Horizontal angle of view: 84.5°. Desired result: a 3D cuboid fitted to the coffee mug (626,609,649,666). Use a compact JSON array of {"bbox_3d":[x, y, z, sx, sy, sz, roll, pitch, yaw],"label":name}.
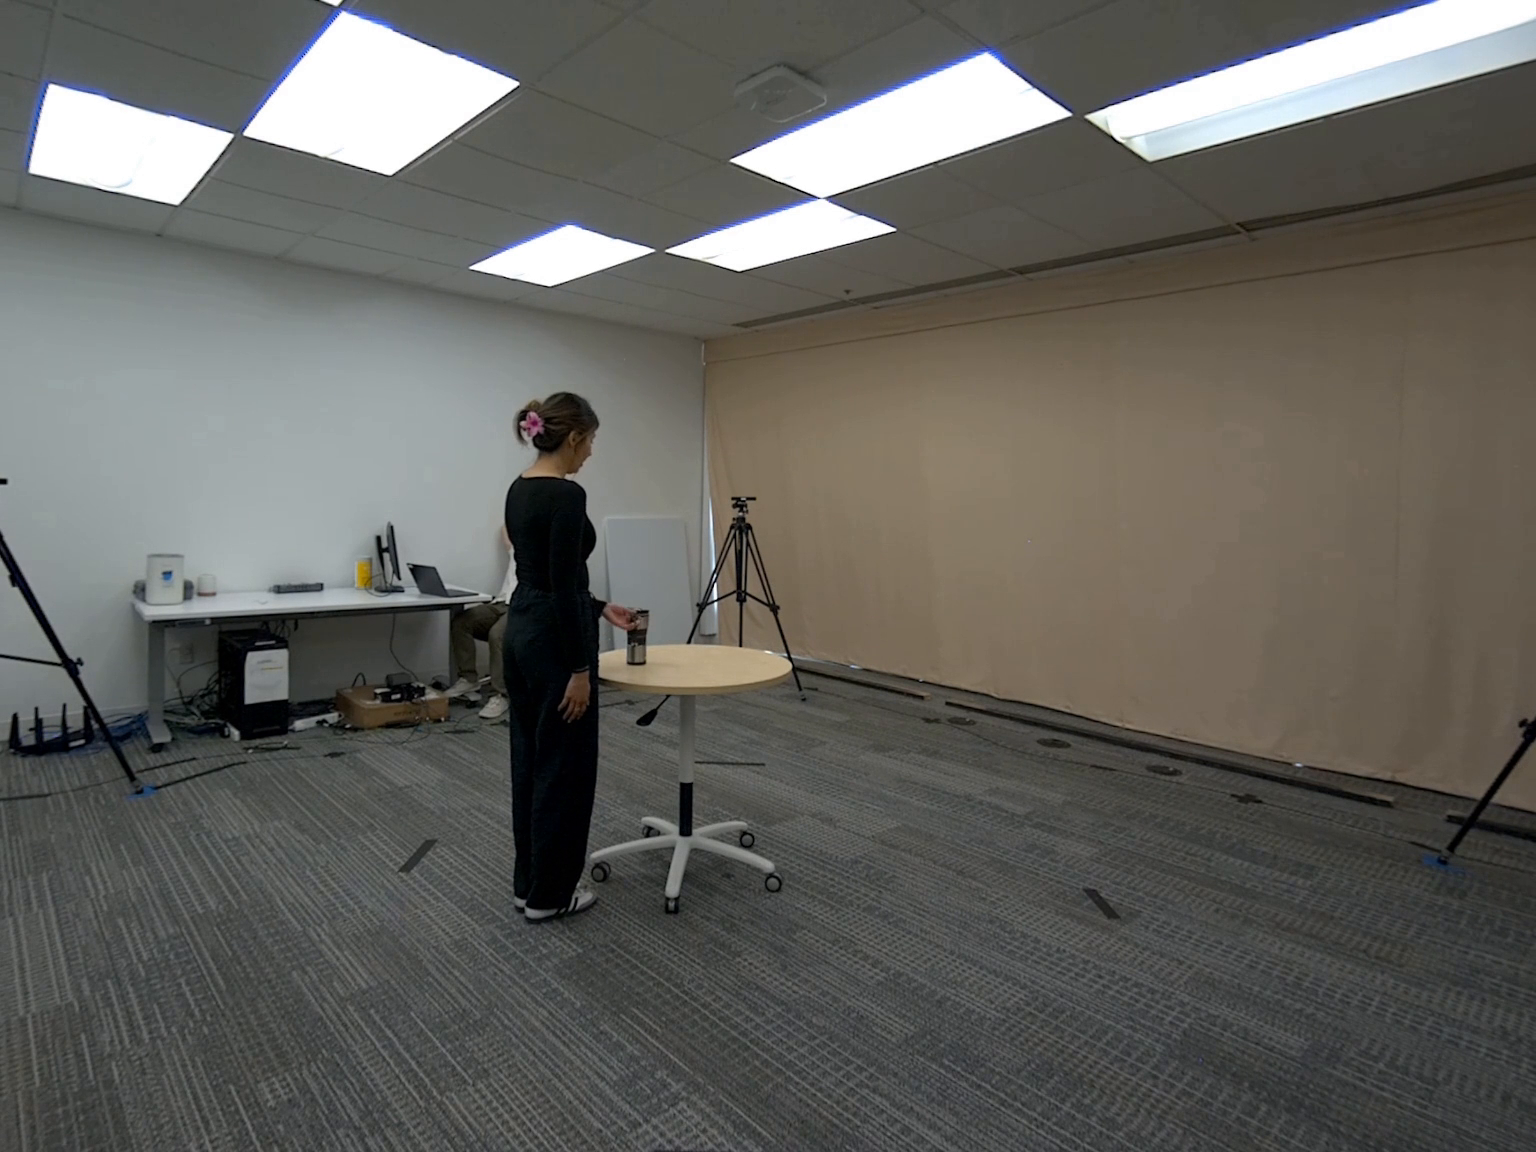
[{"bbox_3d":[-0.497,0.220,3.051,0.119,0.202,0.090,2,5,-45],"label":"coffee mug"}]
